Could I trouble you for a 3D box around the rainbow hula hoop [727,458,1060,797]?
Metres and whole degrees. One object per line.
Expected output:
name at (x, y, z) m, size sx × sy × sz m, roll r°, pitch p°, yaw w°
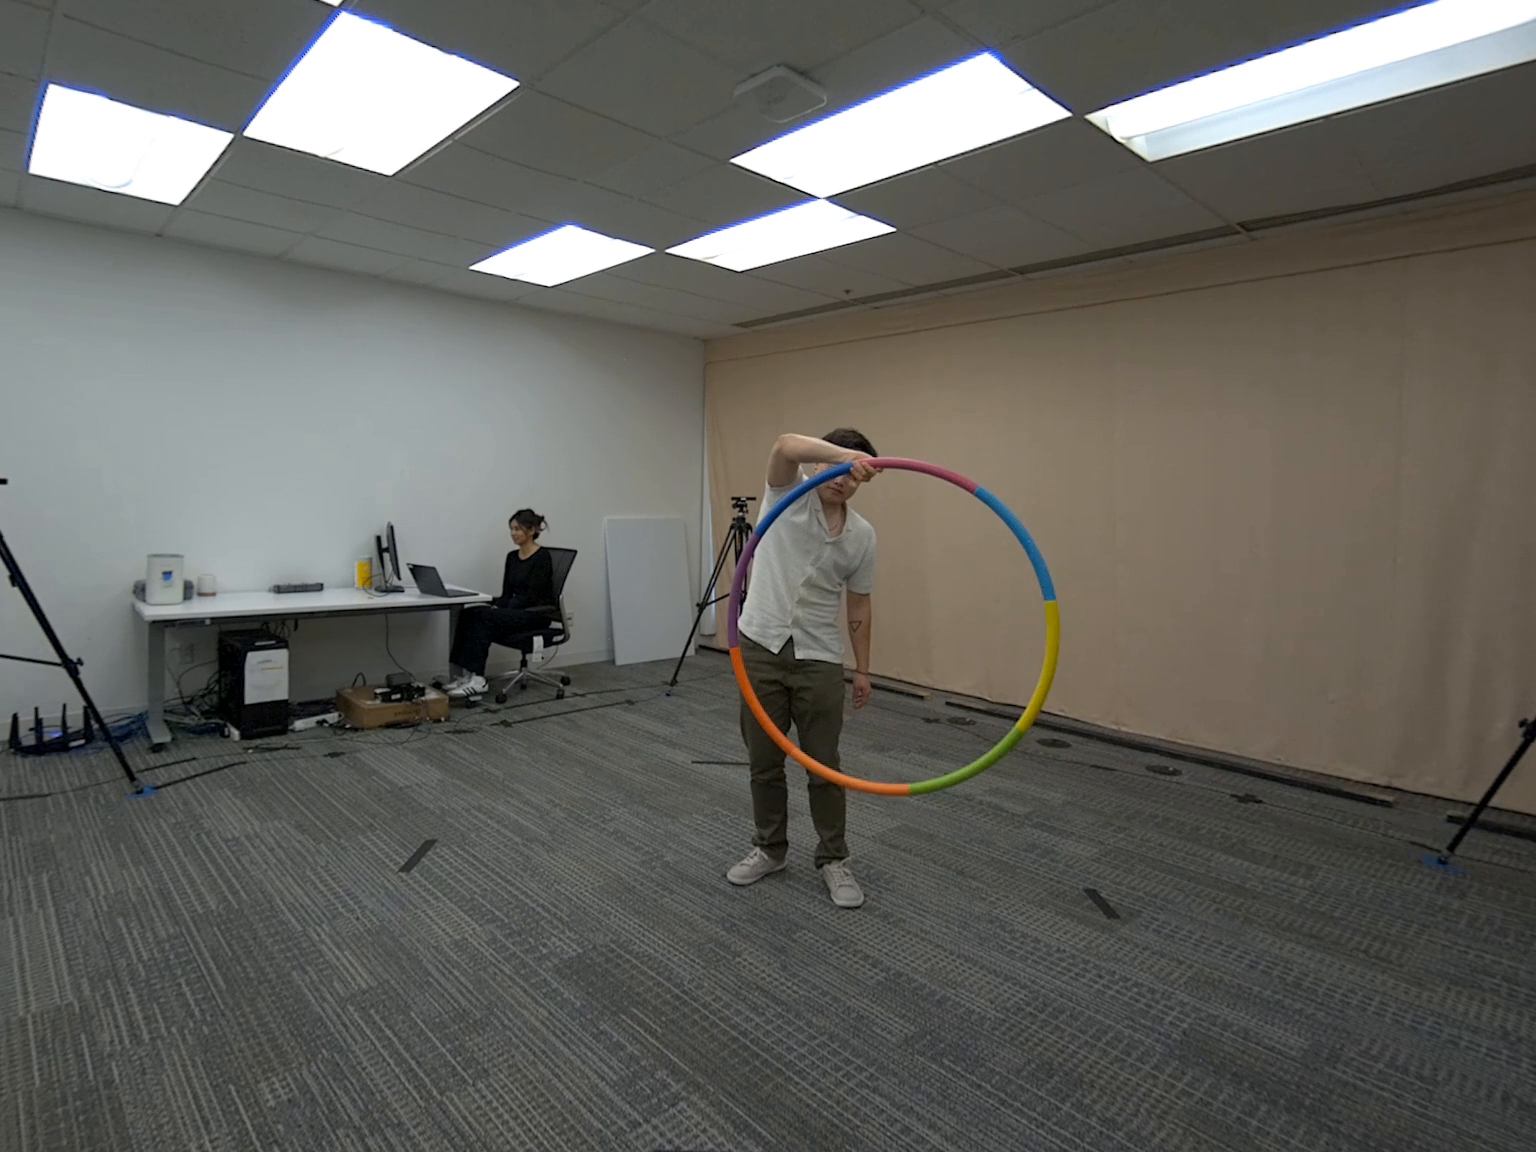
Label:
rainbow hula hoop at (0.331, 0.145, 2.485) m, size 0.995 × 0.979 × 0.035 m, roll 3°, pitch -1°, yaw 22°
